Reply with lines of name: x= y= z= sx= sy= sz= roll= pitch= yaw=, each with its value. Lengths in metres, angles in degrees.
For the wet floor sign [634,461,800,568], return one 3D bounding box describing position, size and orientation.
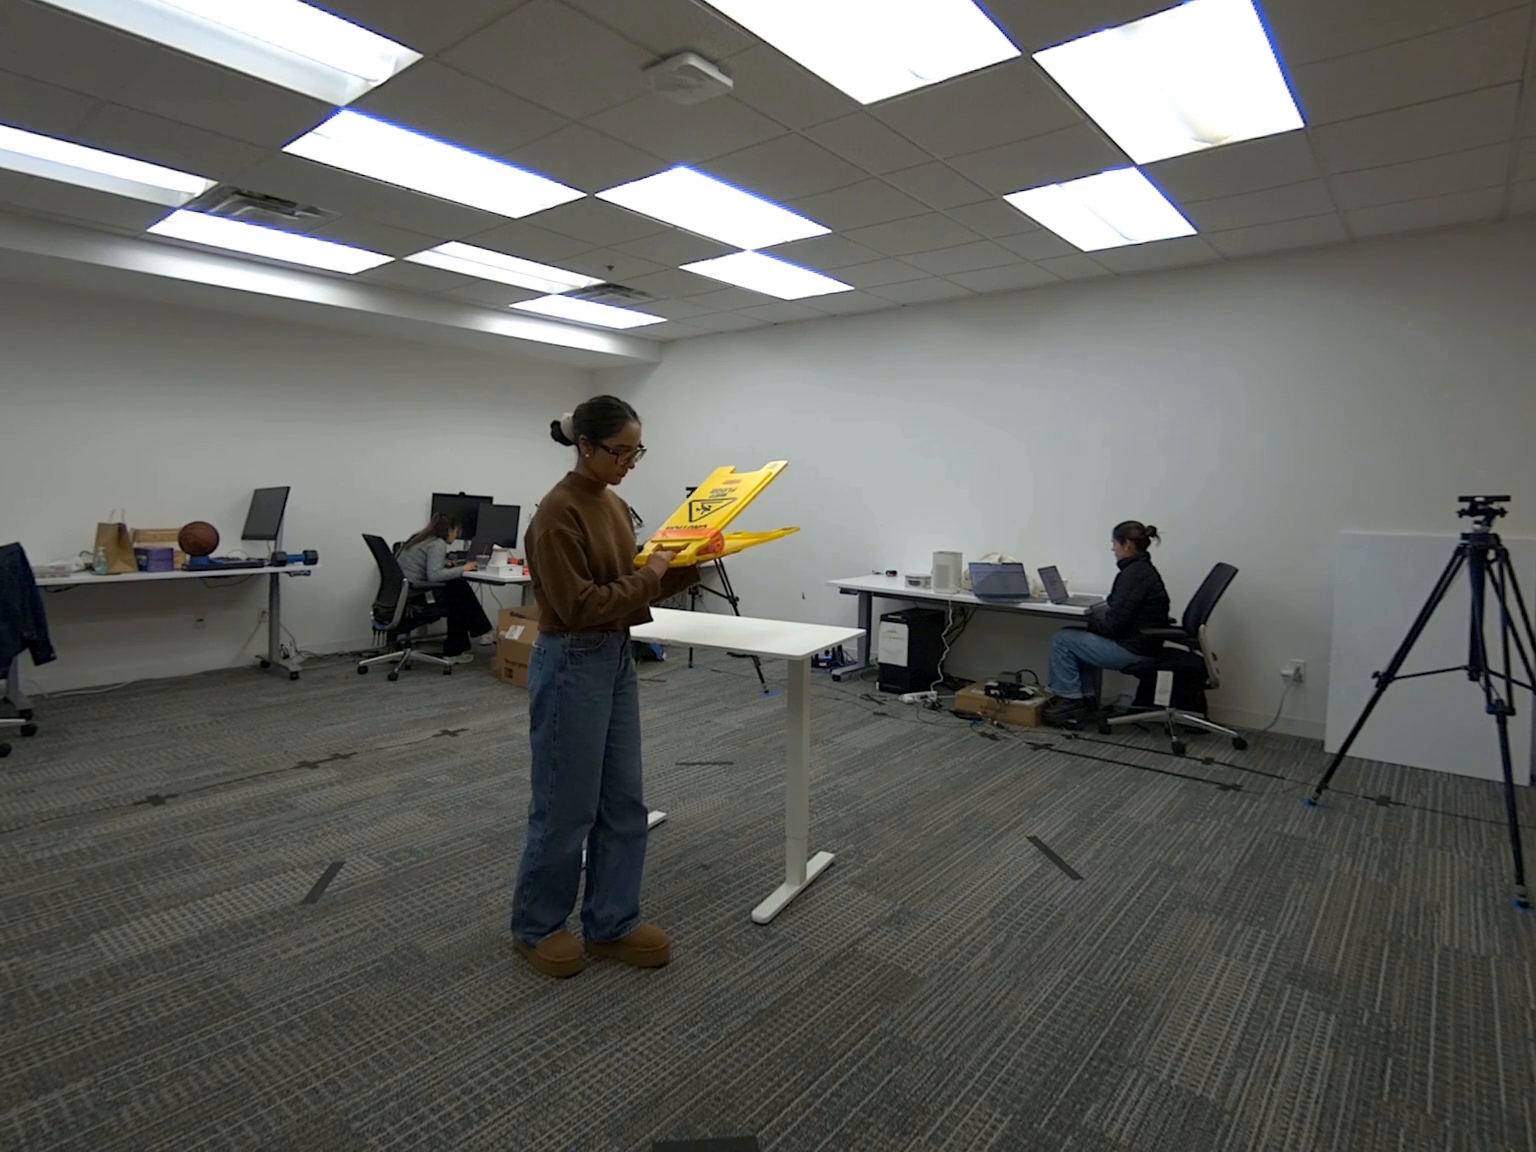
wet floor sign: x=-0.174 y=-0.149 z=2.698 sx=0.289 sy=0.285 sz=0.640 roll=-3 pitch=18 yaw=28
